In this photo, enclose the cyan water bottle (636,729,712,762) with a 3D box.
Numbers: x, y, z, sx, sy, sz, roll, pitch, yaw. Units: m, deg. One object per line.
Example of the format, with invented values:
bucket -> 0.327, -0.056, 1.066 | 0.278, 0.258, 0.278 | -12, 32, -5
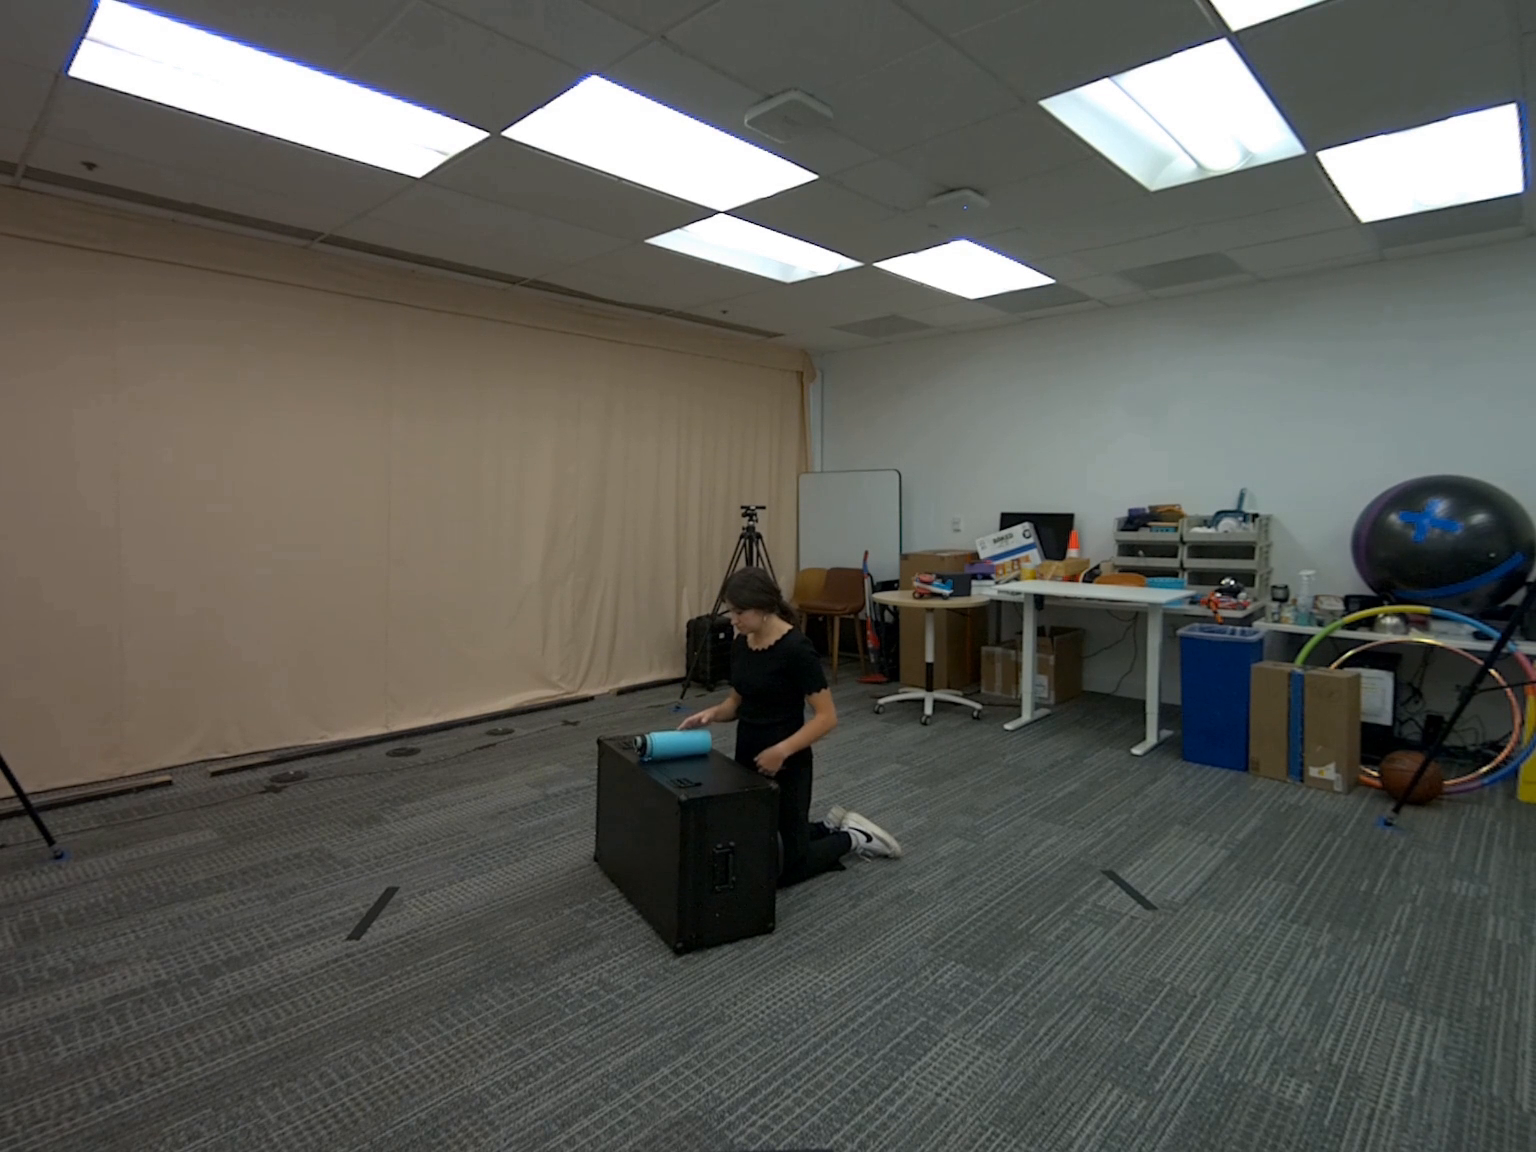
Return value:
cyan water bottle -> -0.345, 0.608, 3.027 | 0.276, 0.092, 0.095 | 2, 3, -26
